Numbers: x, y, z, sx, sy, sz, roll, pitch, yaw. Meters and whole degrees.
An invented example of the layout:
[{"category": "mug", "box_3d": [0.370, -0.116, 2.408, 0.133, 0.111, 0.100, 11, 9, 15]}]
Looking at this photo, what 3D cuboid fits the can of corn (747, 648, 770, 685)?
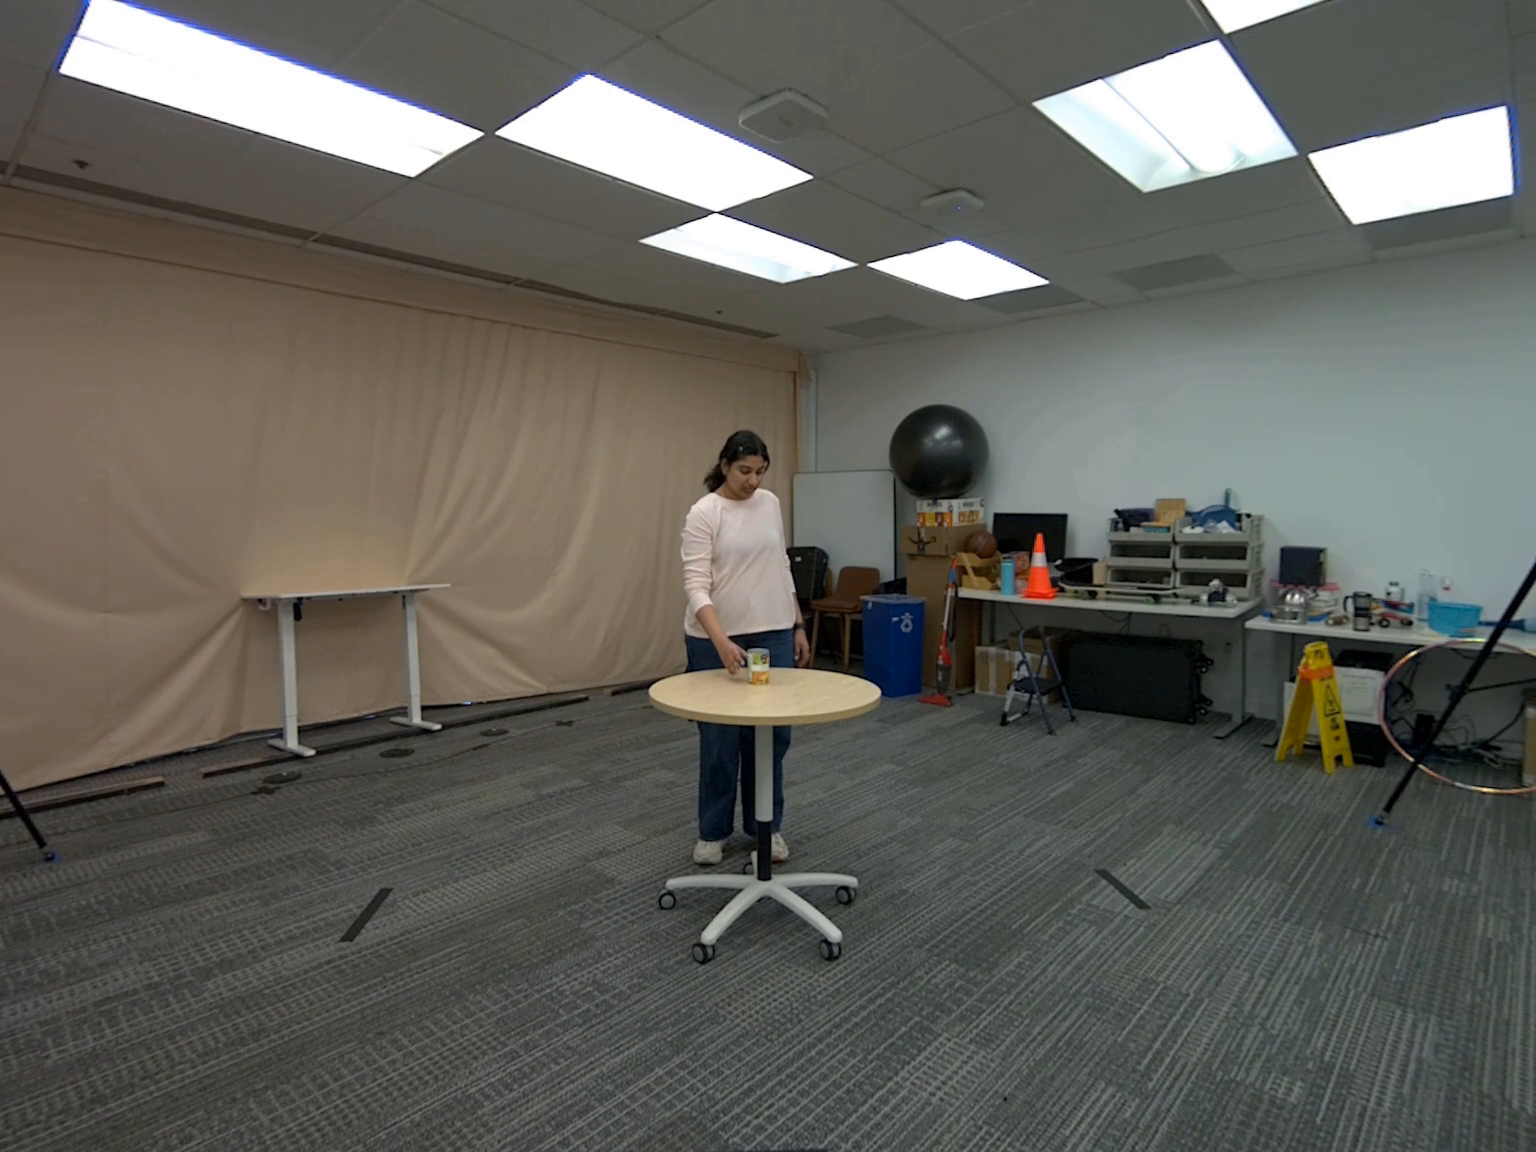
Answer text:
[{"category": "can of corn", "box_3d": [-0.036, 0.311, 2.904, 0.074, 0.111, 0.074, -2, 2, -2]}]
